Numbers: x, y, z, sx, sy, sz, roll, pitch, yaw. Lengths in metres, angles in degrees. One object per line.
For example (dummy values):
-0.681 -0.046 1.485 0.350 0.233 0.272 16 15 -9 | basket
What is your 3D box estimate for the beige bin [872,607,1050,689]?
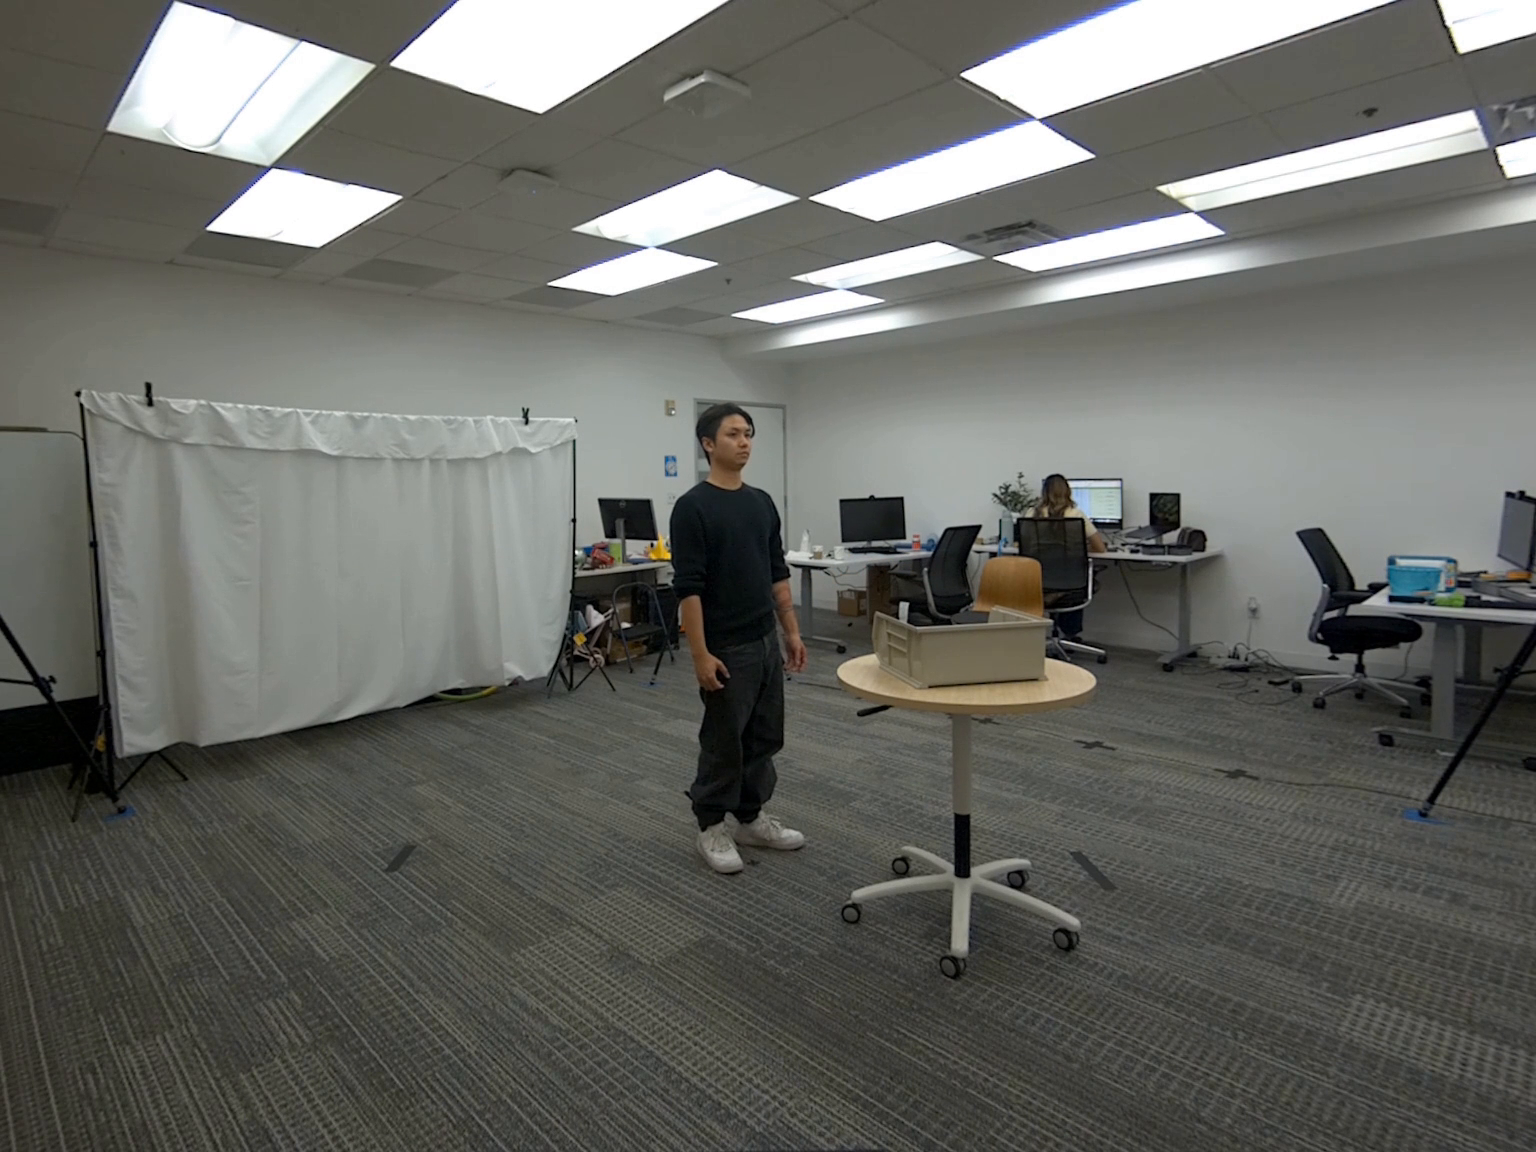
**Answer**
0.585 0.210 2.652 0.418 0.188 0.383 -2 7 -12 | beige bin
